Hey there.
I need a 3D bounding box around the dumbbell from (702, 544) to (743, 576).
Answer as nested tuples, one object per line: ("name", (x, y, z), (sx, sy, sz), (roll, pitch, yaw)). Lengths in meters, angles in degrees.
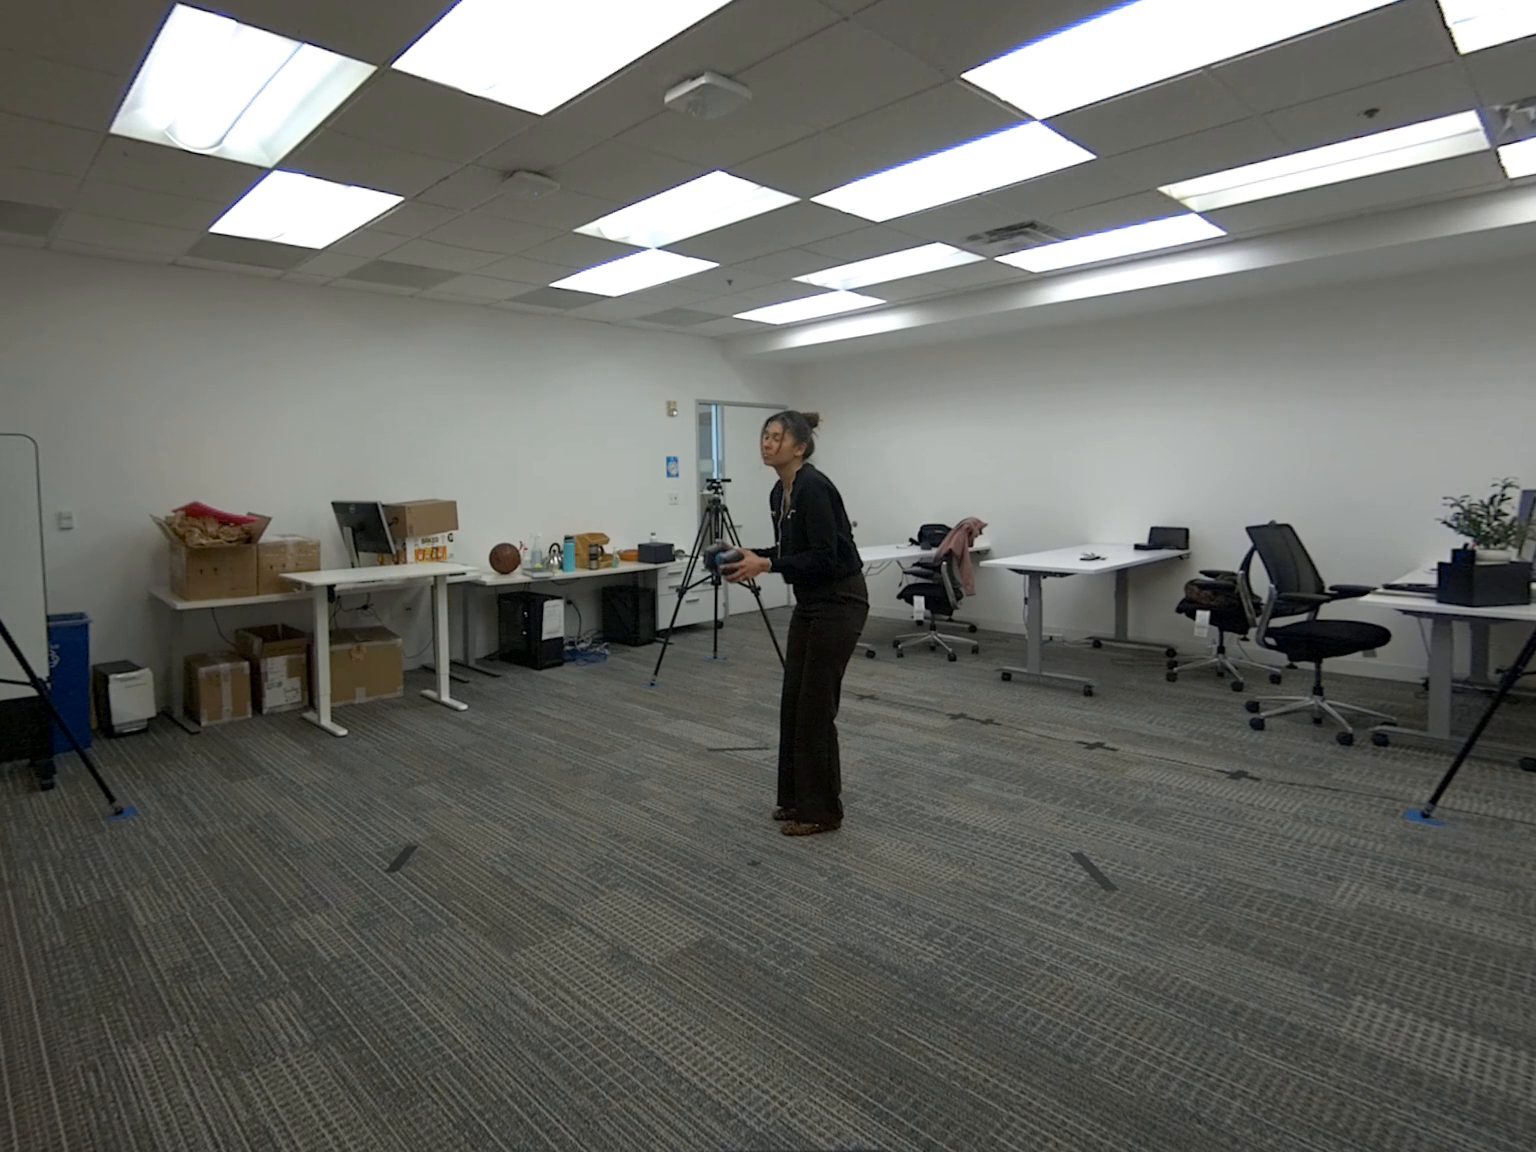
("dumbbell", (-0.156, -0.050, 3.353), (0.122, 0.107, 0.299), (-26, 15, -10))
